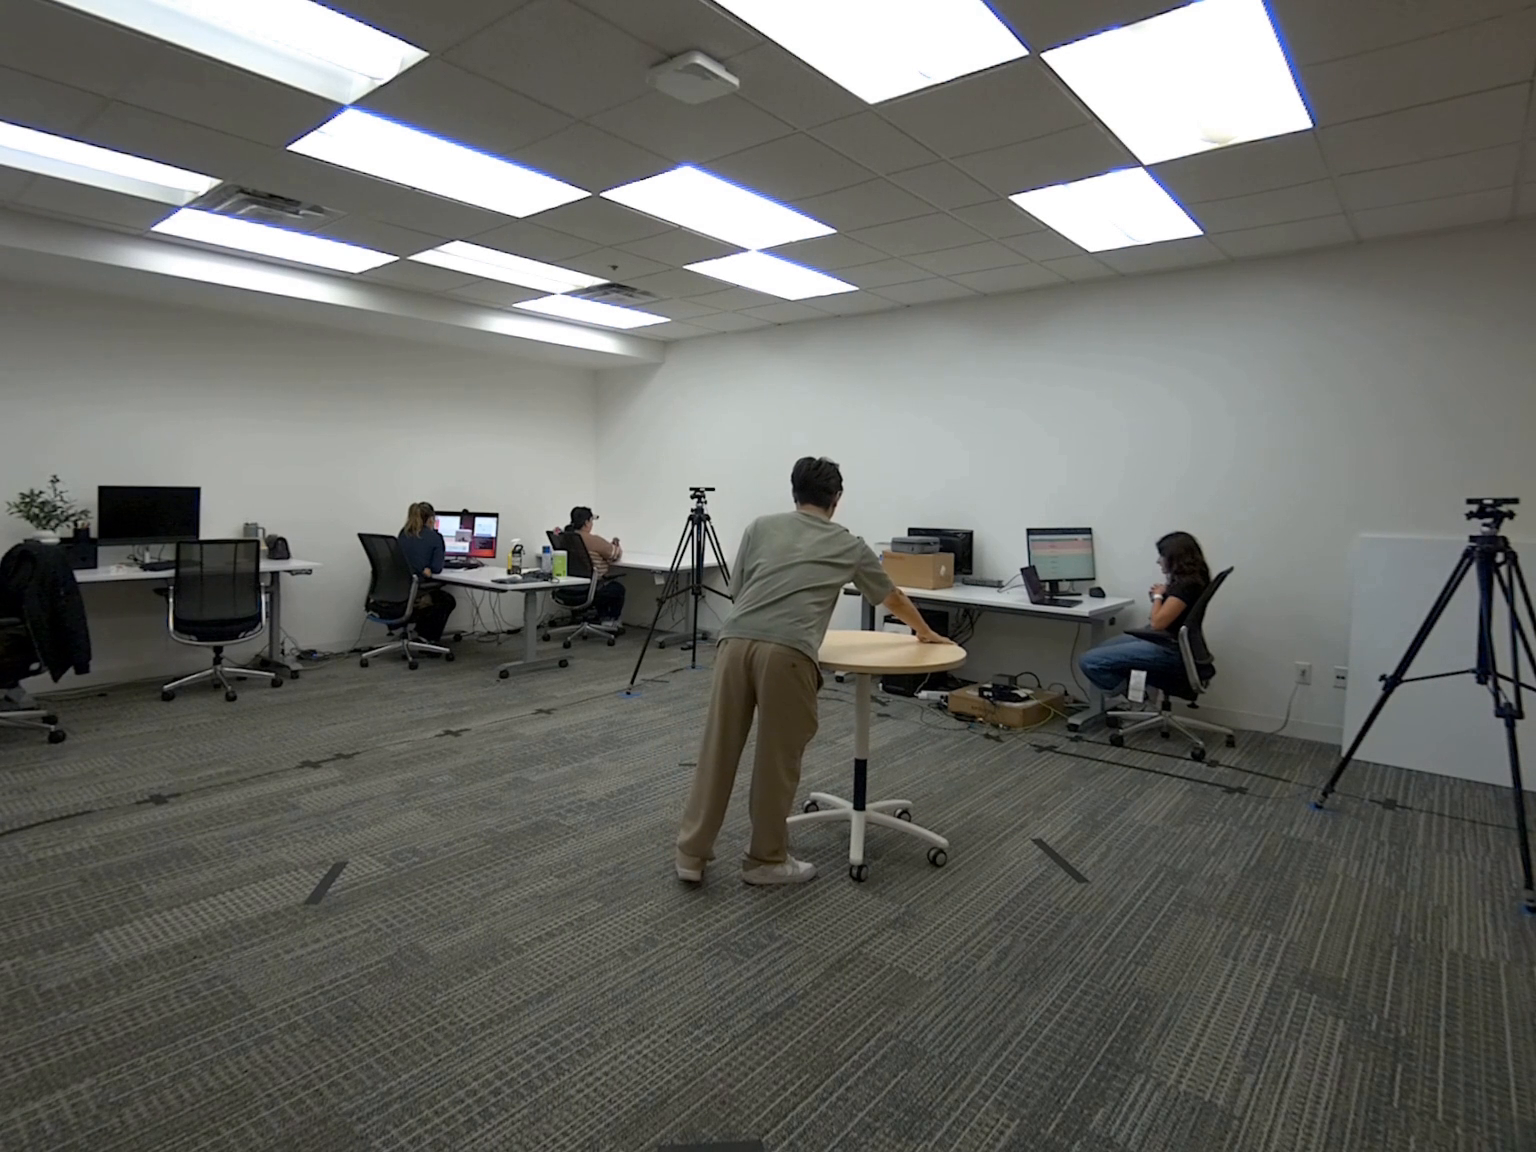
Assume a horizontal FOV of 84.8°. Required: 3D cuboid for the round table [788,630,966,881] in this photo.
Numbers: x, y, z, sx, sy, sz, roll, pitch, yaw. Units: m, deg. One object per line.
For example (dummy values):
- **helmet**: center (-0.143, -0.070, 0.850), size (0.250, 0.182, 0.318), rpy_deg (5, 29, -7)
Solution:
- **round table**: center (0.370, 0.663, 3.333), size (0.784, 0.784, 0.788), rpy_deg (1, 4, -2)
